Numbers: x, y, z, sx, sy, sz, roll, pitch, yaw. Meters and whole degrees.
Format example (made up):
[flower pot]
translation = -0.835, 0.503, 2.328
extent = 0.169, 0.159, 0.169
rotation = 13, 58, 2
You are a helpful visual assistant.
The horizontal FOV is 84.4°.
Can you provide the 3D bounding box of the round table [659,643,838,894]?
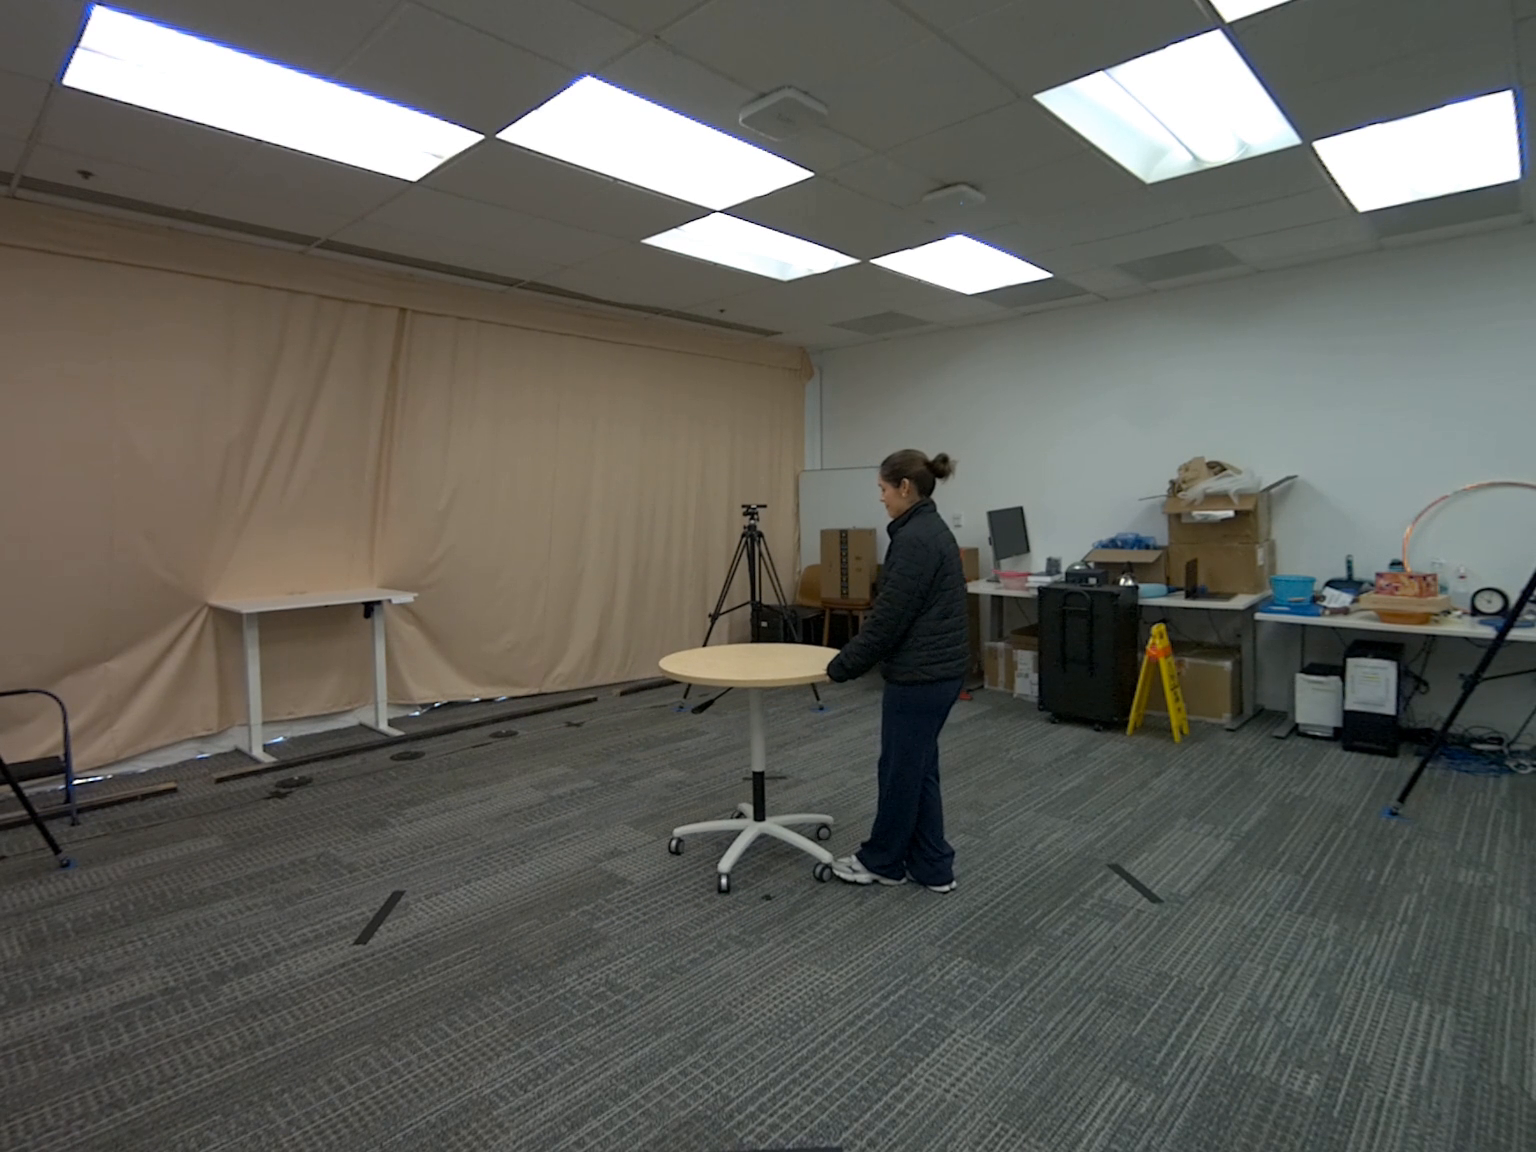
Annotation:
[round table]
translation = -0.024, 0.717, 3.318
extent = 0.784, 0.785, 0.787
rotation = -2, 3, -2
